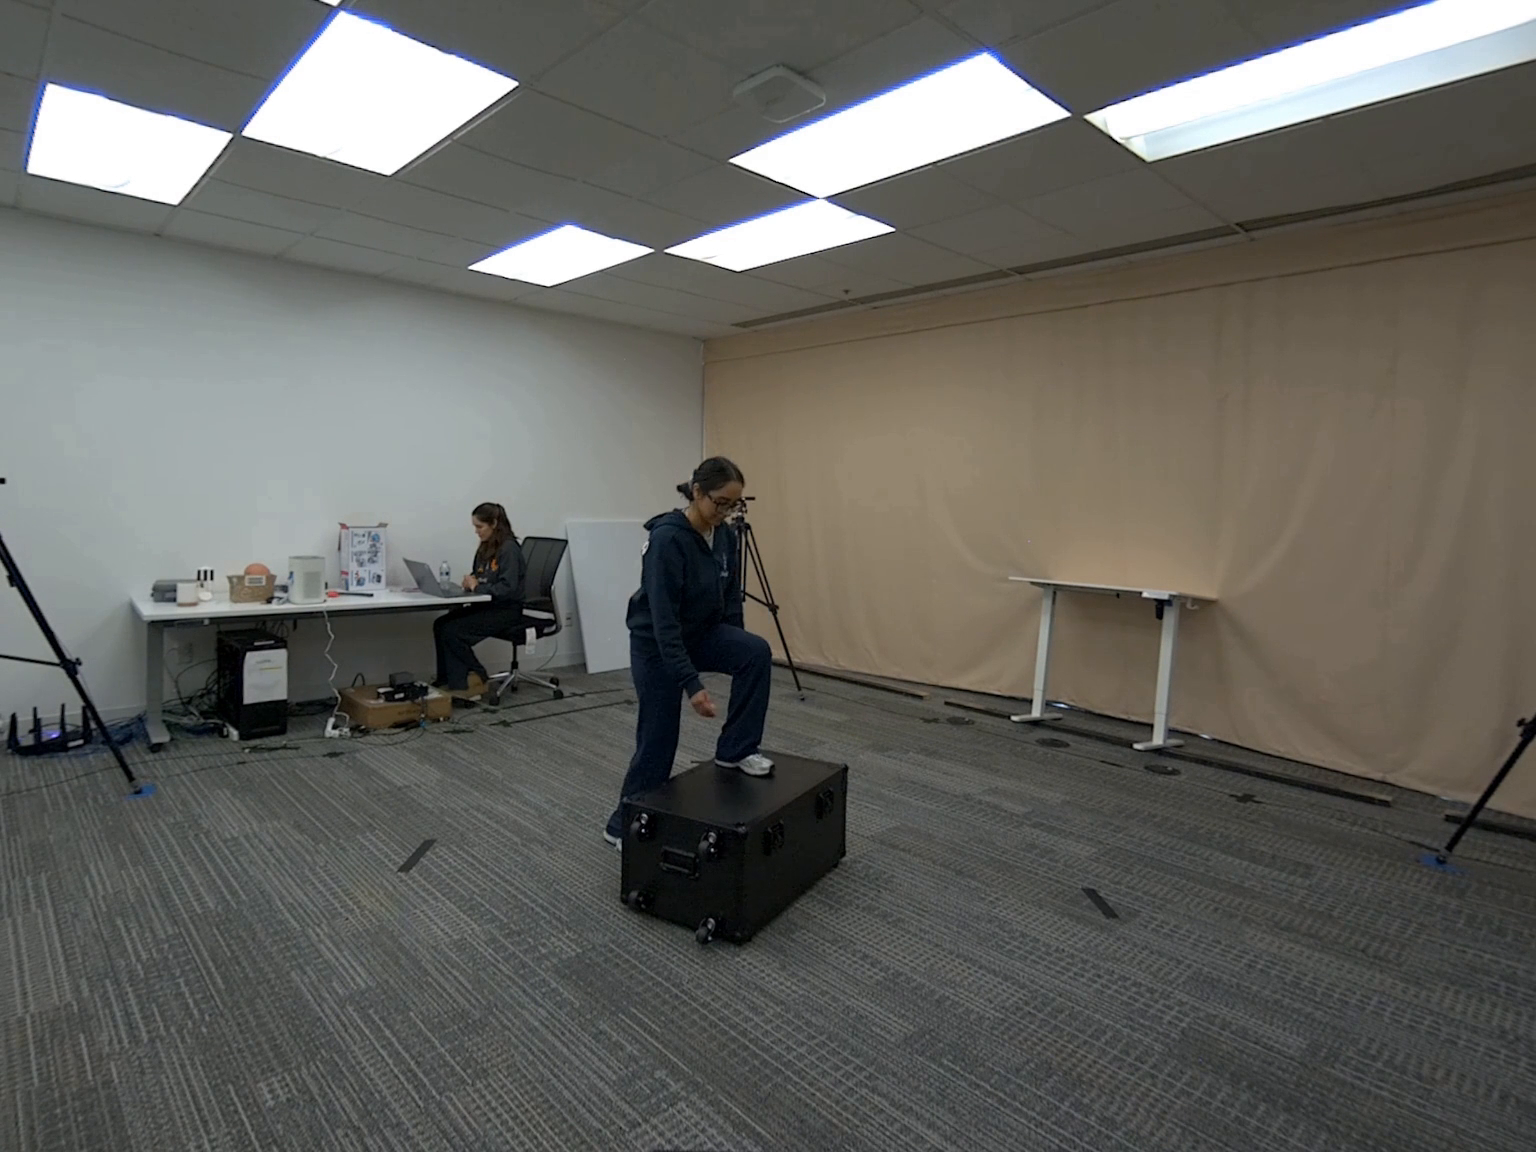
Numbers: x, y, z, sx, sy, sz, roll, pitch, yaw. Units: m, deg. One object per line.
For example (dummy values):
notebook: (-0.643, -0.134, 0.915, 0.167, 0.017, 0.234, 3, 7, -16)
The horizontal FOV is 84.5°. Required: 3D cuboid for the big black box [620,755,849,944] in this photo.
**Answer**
big black box: (-0.120, 0.928, 3.003, 0.532, 0.395, 0.845, 4, 5, 29)
